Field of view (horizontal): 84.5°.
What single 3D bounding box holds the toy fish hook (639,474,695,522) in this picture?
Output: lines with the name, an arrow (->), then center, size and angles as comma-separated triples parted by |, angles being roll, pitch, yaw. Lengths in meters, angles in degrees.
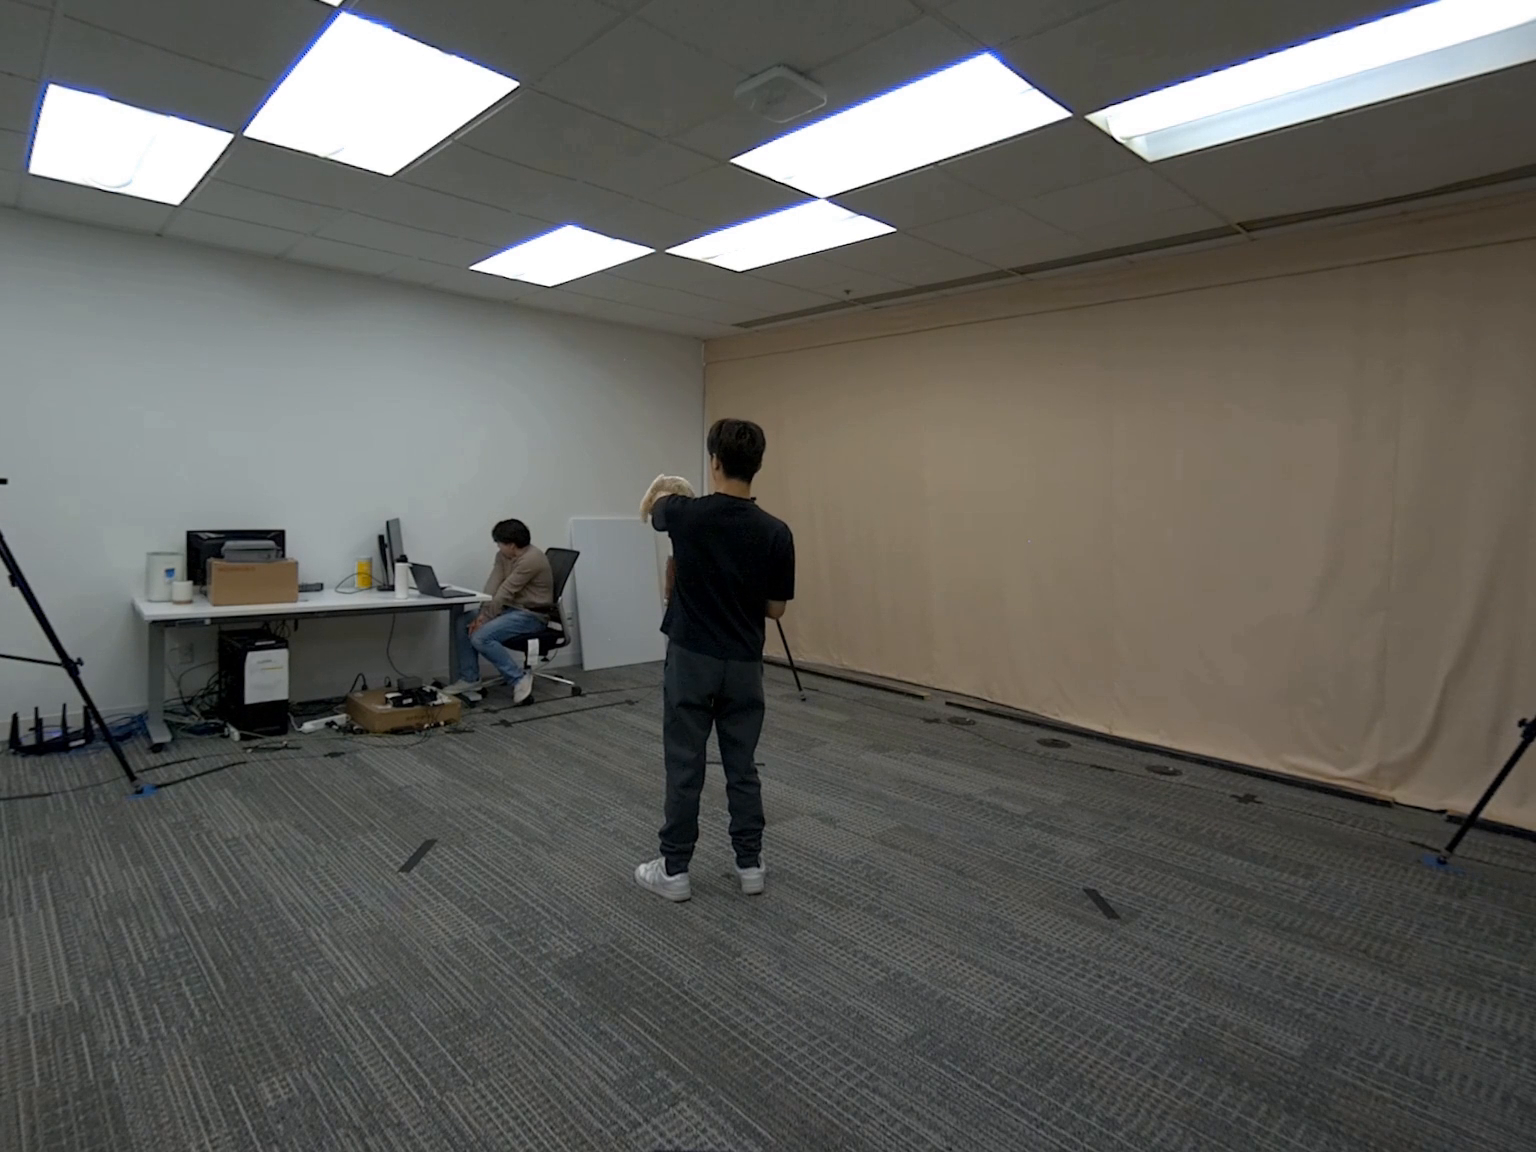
toy fish hook -> -0.418, -0.135, 3.265 | 0.221, 0.506, 0.049 | 7, 1, -19
